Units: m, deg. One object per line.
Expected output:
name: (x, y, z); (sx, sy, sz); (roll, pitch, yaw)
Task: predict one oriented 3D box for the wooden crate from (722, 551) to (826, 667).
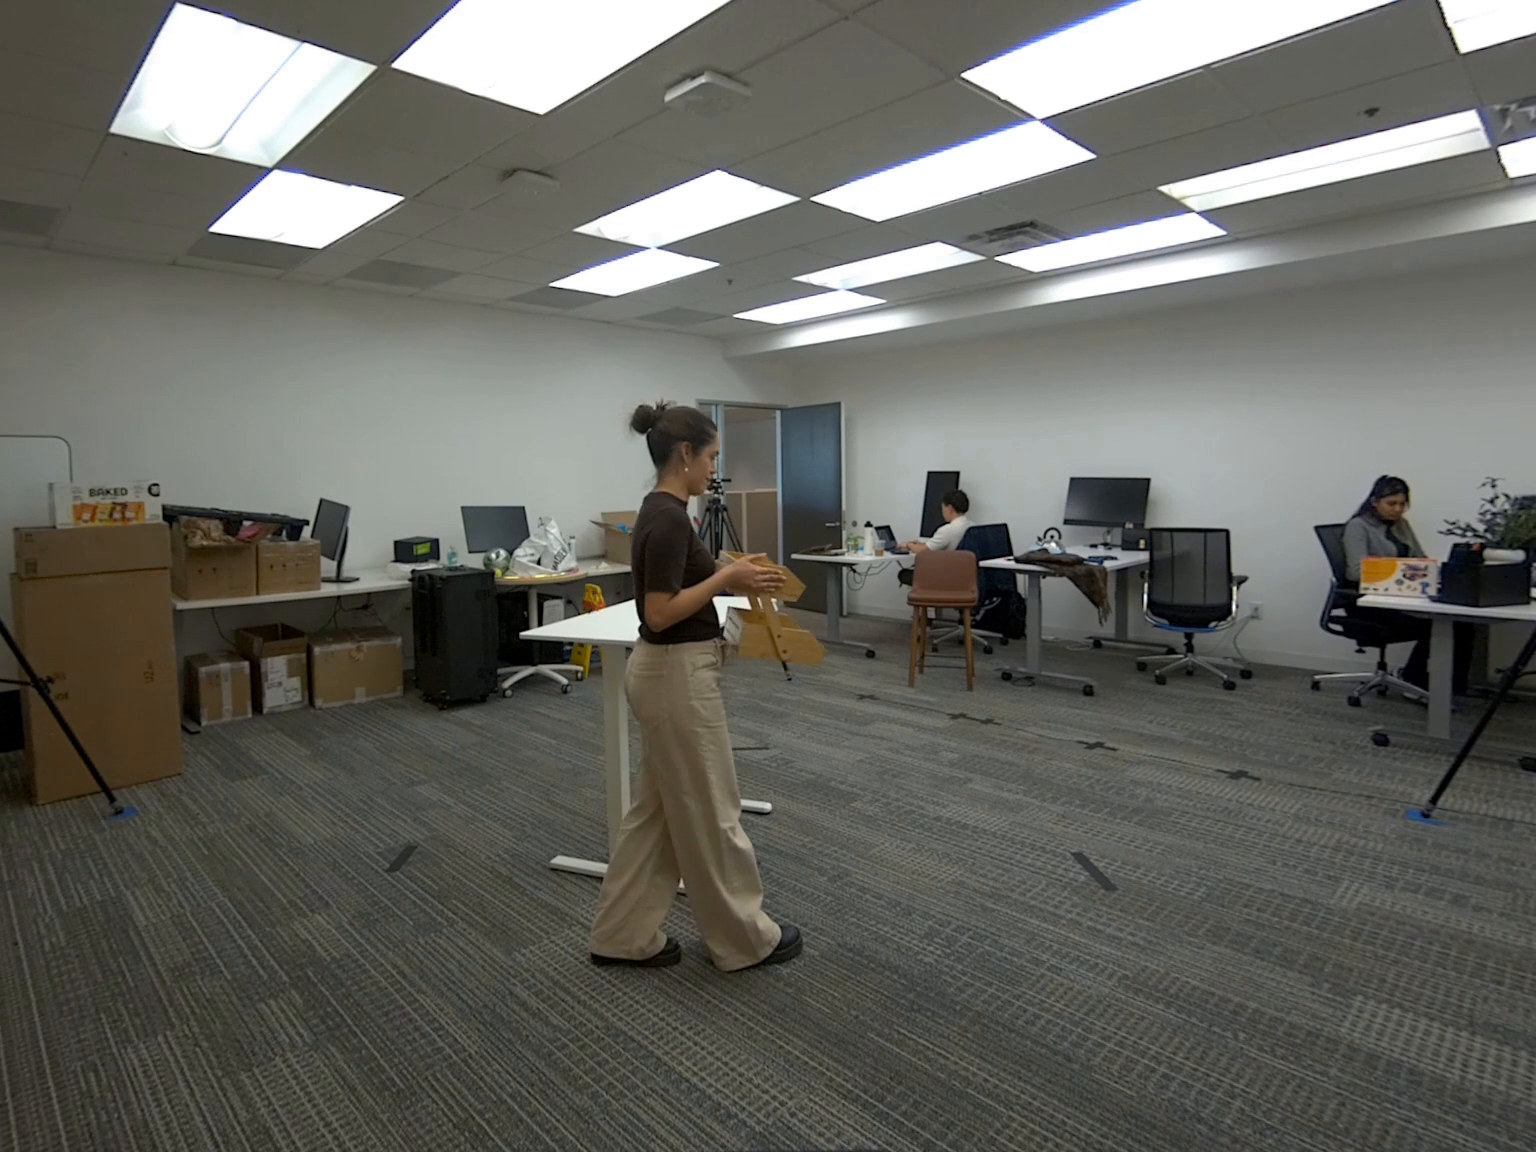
wooden crate: (0.005, 0.080, 2.490); (0.299, 0.272, 0.328); (7, 4, -10)
